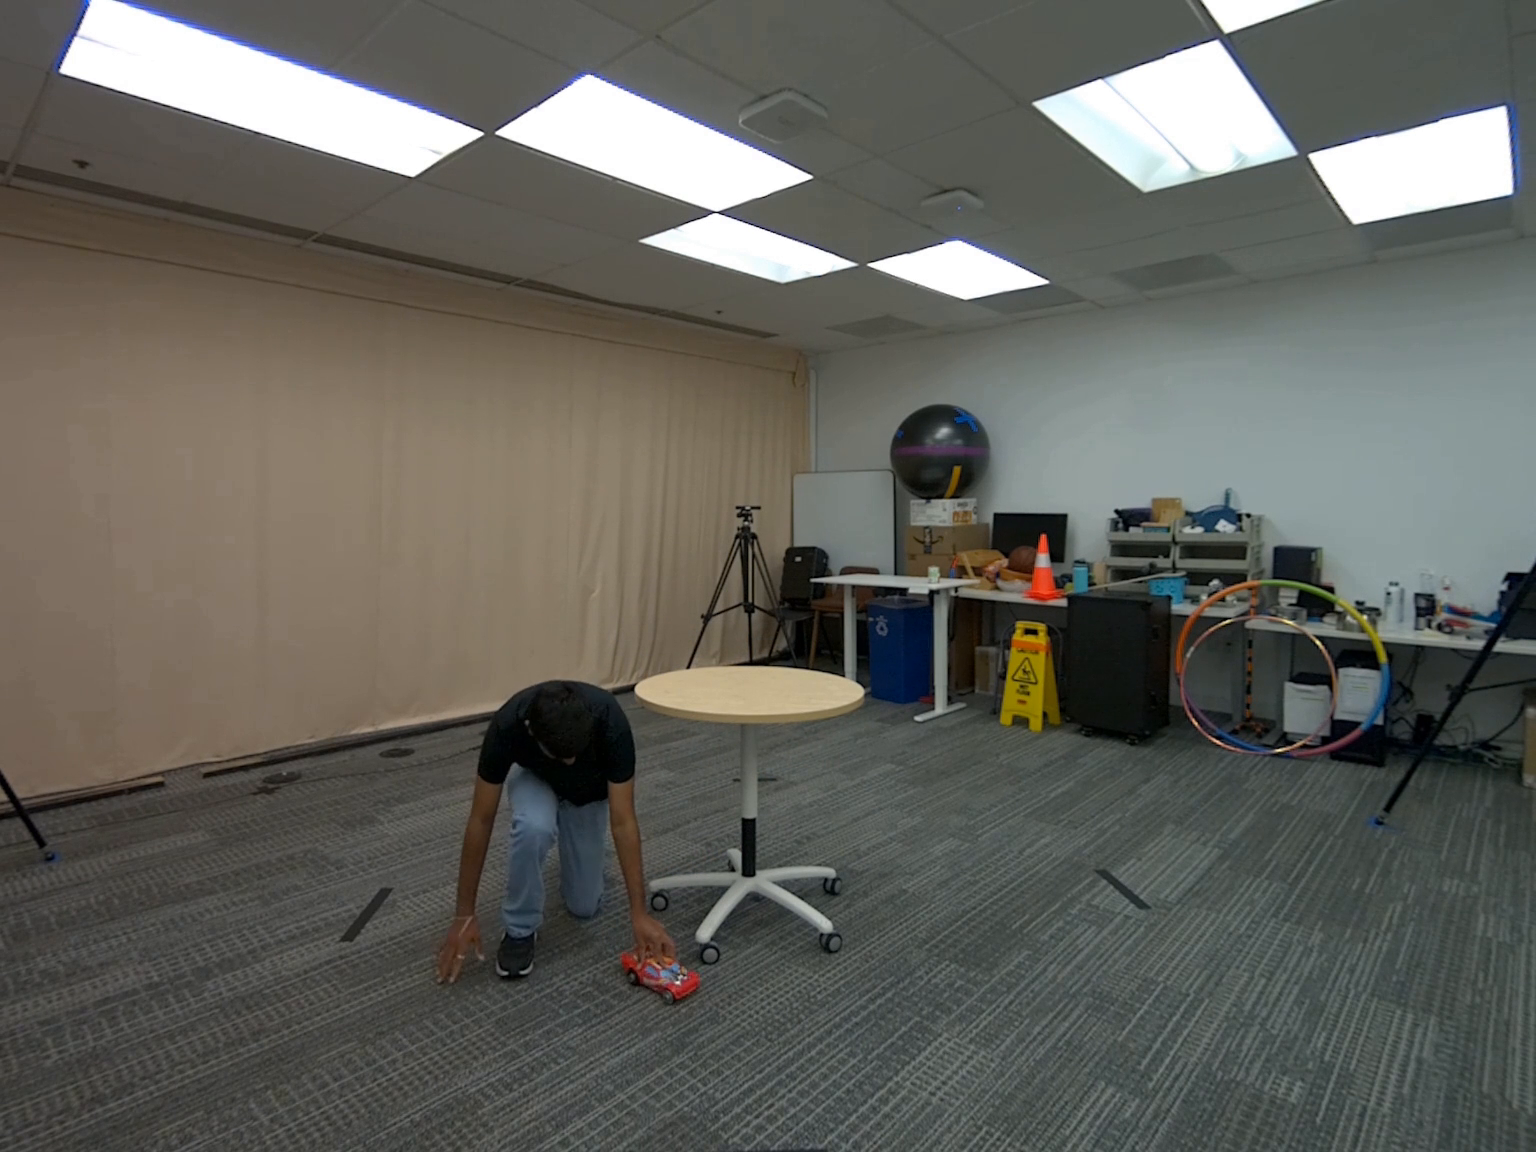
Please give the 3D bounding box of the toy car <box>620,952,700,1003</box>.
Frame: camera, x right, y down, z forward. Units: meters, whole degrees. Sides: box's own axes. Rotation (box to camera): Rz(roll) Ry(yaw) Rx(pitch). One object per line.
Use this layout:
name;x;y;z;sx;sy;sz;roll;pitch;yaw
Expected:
toy car;-0.314;1.155;2.449;0.263;0.083;0.126;17;14;37
